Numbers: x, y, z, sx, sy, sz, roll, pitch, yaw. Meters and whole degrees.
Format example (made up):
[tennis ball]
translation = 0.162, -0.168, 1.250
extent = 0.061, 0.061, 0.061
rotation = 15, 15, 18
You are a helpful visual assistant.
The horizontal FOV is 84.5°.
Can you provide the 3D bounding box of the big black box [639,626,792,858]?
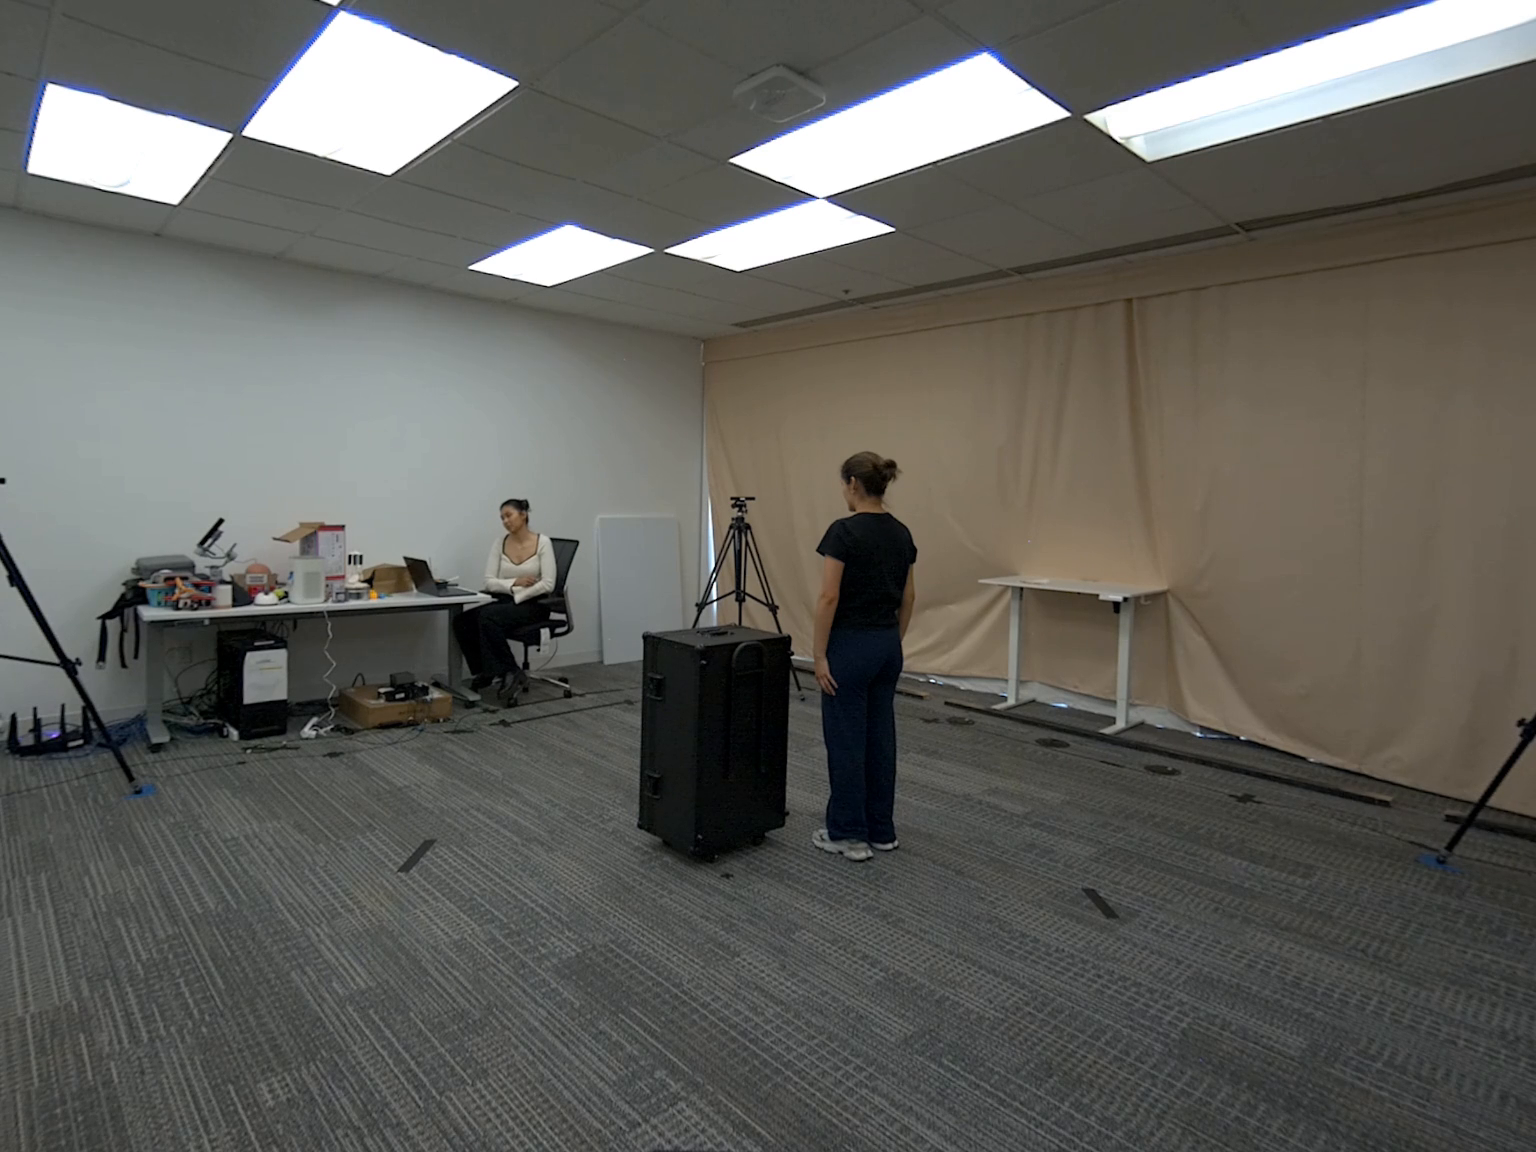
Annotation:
[big black box]
translation = -0.209, 0.662, 3.347
extent = 0.509, 0.859, 0.406
rotation = -2, 5, -43
